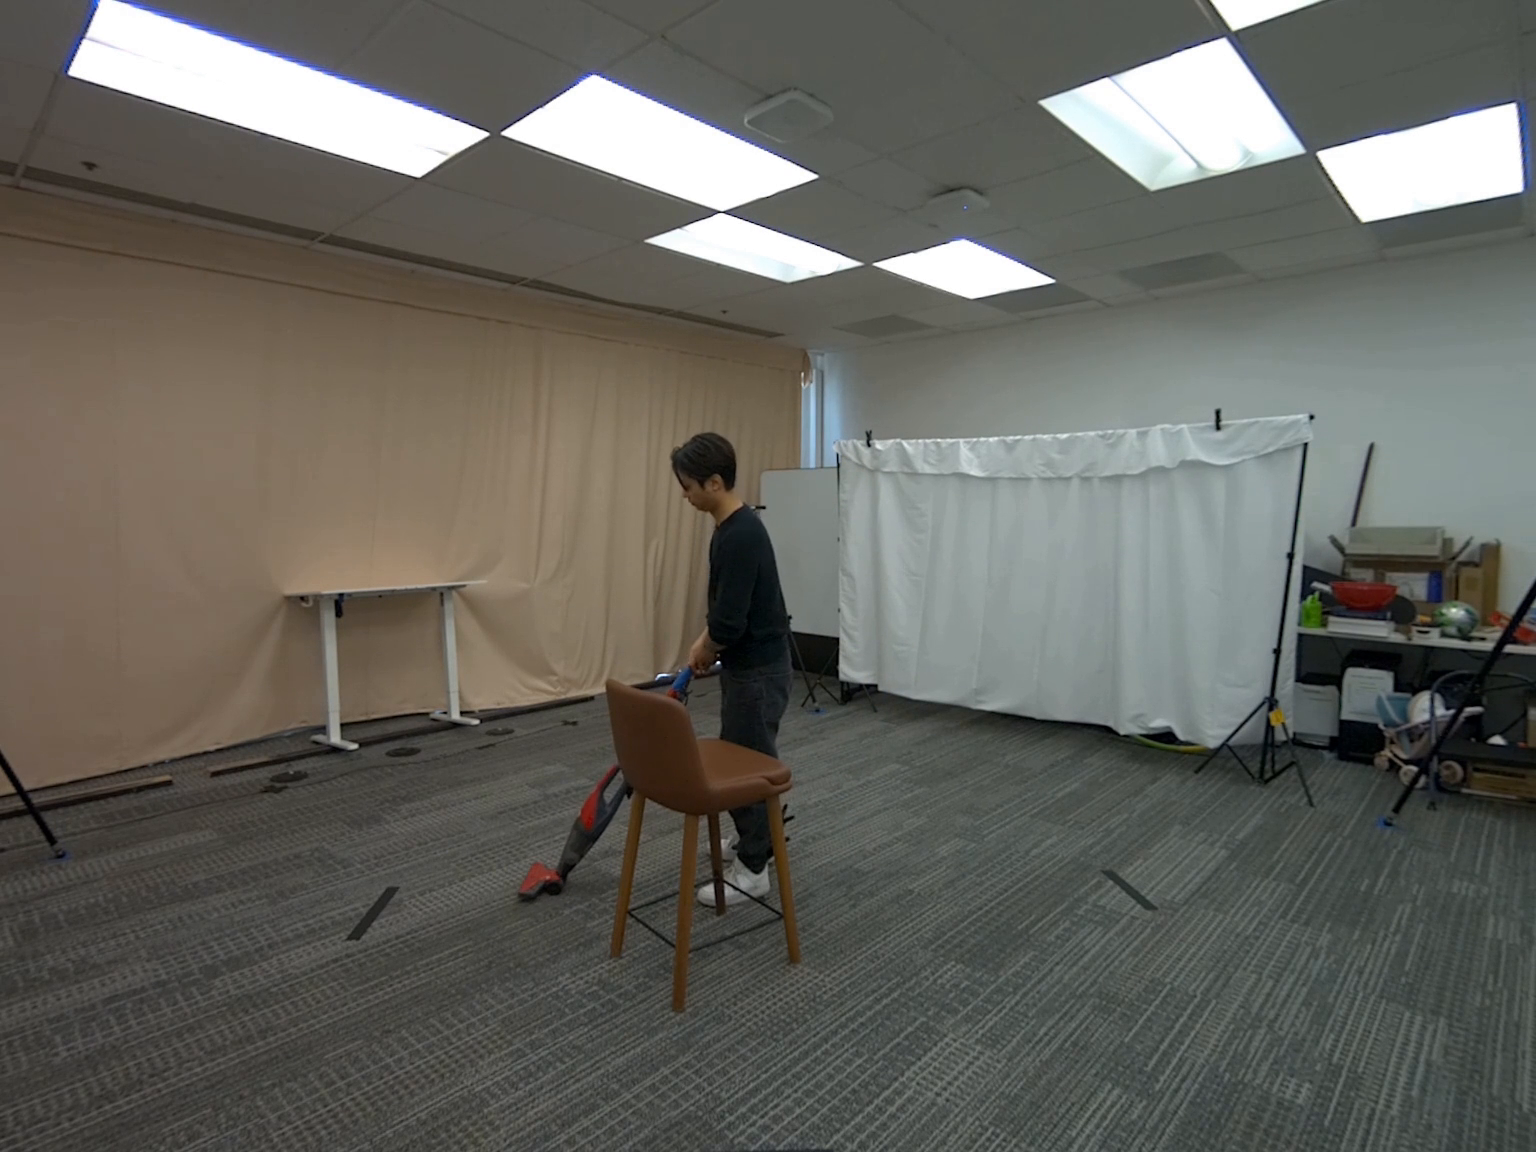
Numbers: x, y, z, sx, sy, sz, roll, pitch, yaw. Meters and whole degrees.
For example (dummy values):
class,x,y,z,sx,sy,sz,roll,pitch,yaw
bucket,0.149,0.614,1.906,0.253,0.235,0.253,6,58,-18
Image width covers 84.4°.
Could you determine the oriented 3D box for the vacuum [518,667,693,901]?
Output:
class,x,y,z,sx,sy,sz,roll,pitch,yaw
vacuum,-0.514,0.716,3.084,0.143,1.049,0.255,37,0,-8
